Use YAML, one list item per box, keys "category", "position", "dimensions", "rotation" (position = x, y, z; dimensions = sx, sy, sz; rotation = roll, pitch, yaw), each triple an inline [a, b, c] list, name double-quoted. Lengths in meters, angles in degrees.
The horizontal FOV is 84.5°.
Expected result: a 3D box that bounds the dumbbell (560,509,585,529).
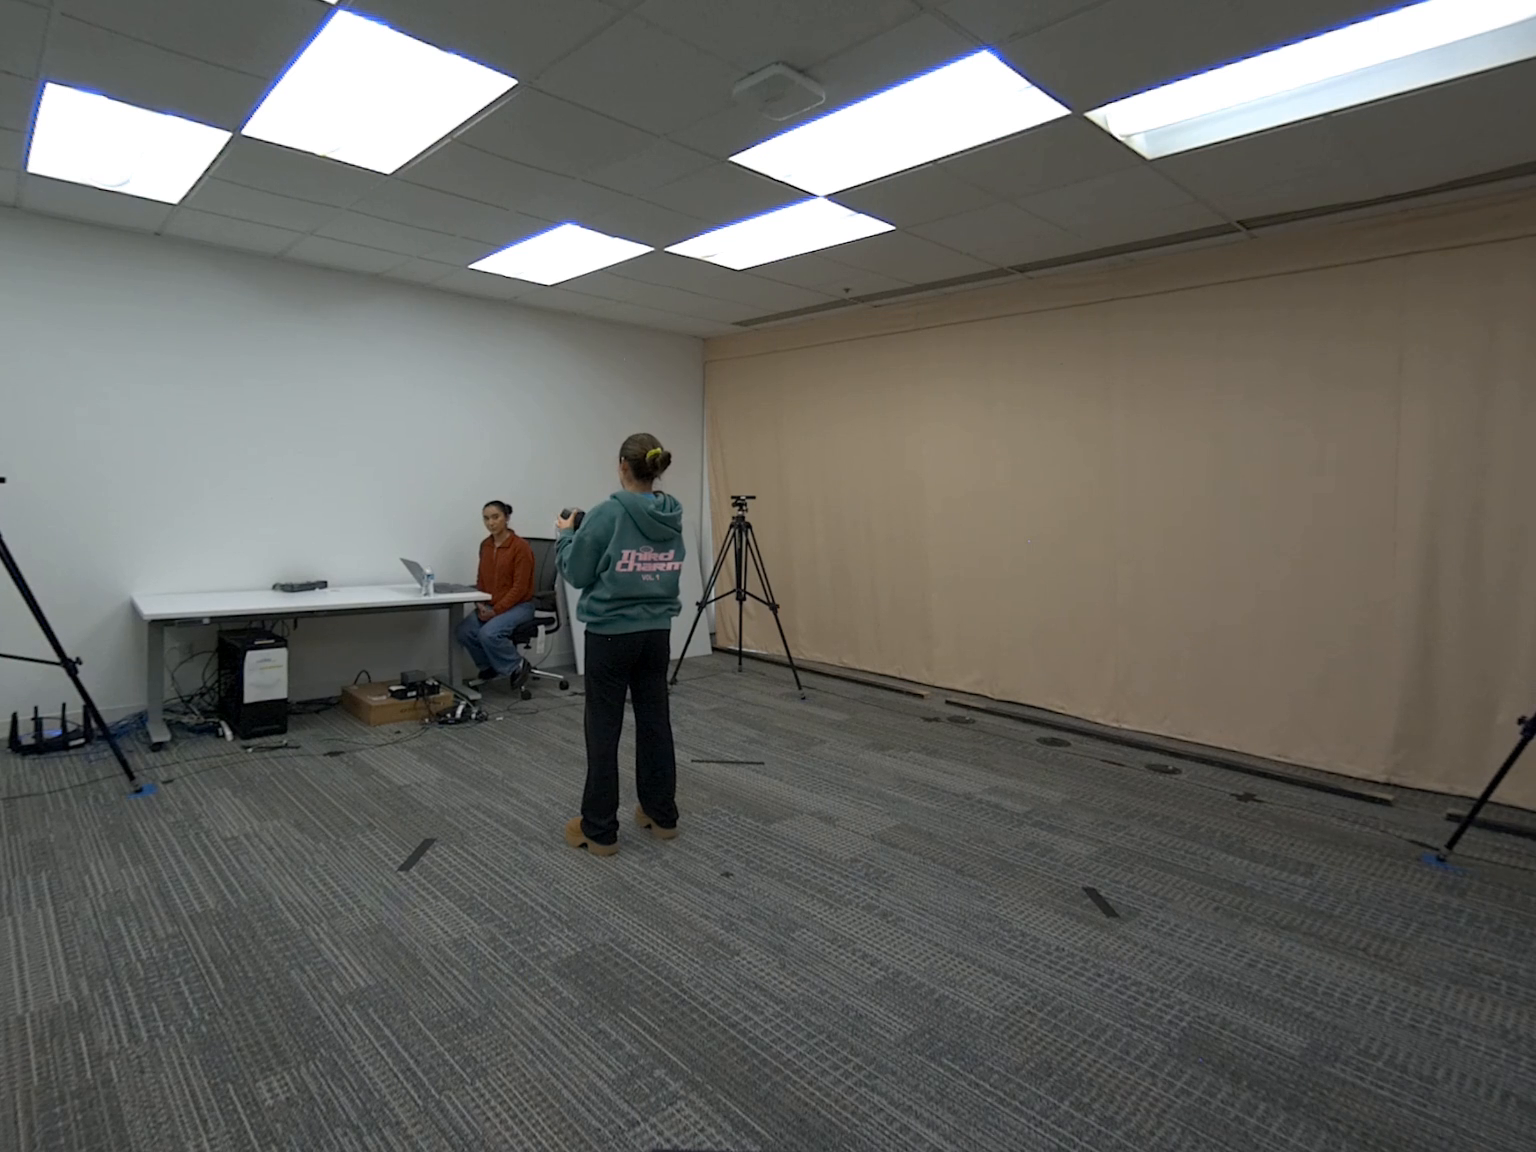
- category: "dumbbell"
  position: [-0.717, -0.222, 3.530]
  dimensions: [0.287, 0.108, 0.127]
  rotation: [-7, 19, -42]
